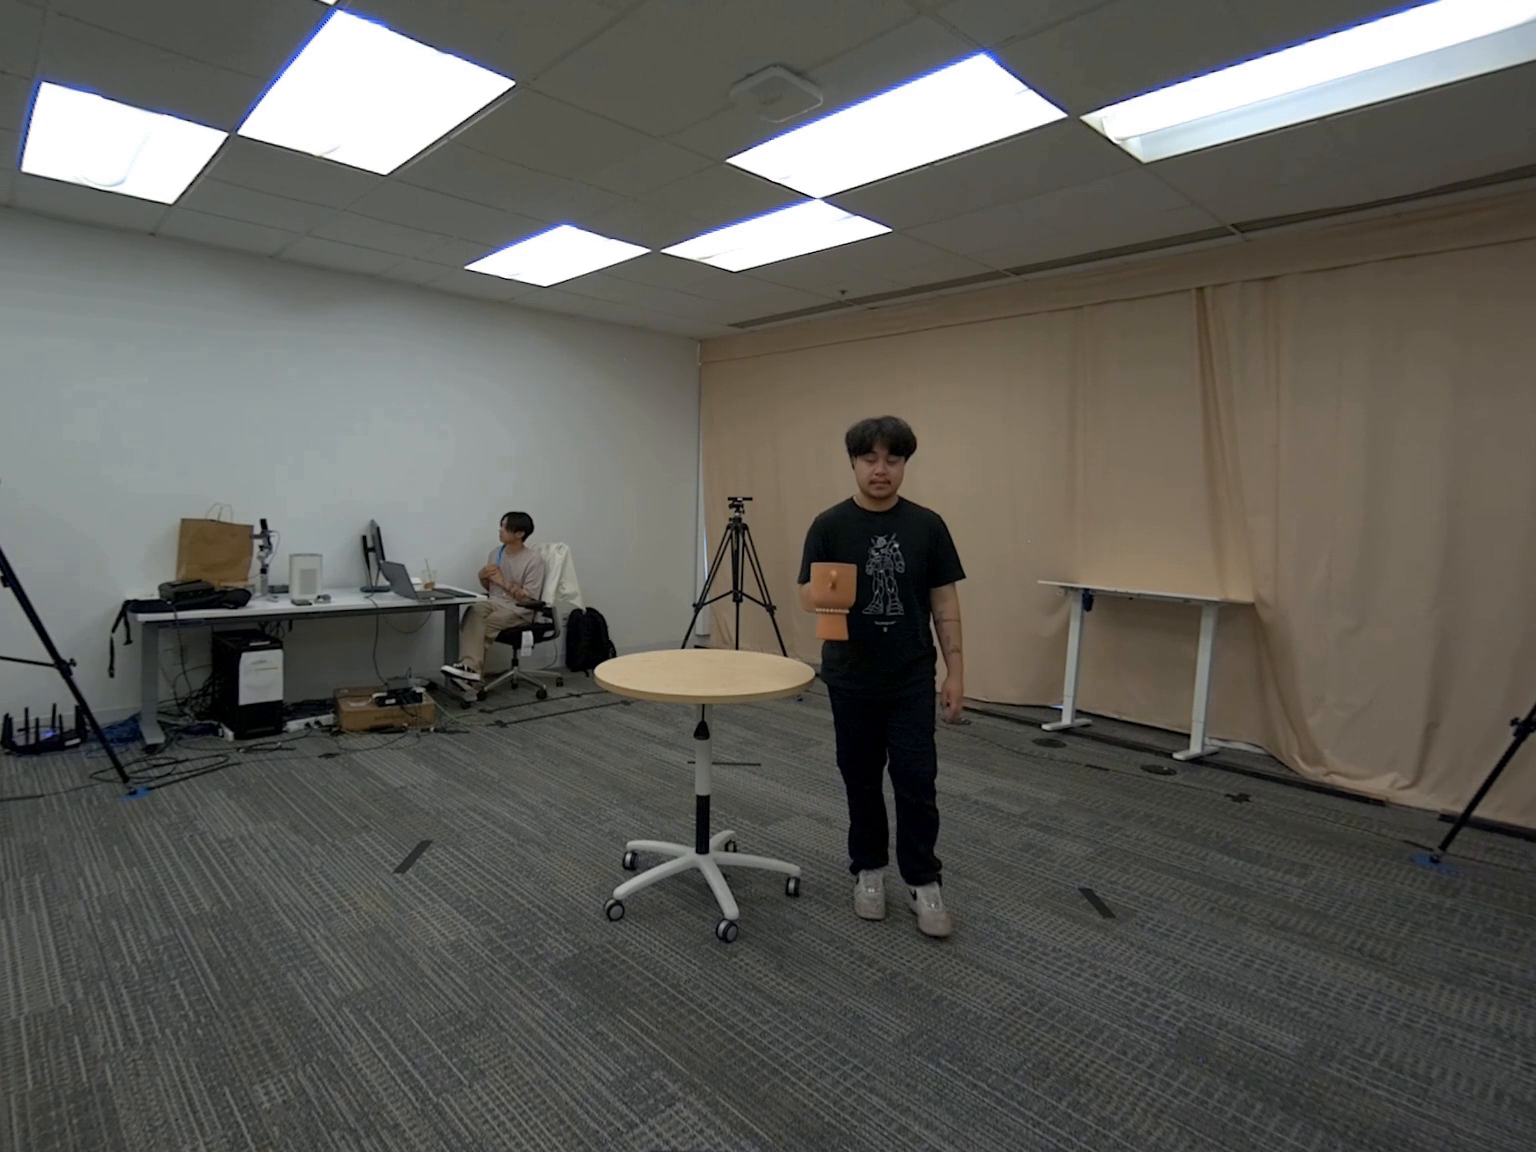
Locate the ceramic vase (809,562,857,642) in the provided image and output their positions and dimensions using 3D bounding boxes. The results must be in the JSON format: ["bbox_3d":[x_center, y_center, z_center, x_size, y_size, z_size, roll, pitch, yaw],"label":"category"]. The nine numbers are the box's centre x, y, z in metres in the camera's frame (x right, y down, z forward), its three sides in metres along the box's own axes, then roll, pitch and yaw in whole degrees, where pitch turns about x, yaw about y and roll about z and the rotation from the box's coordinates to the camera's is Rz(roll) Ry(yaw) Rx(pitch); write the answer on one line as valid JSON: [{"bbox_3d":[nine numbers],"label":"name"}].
[{"bbox_3d":[0.181,0.079,2.464,0.138,0.220,0.155,1,-2,42],"label":"ceramic vase"}]
